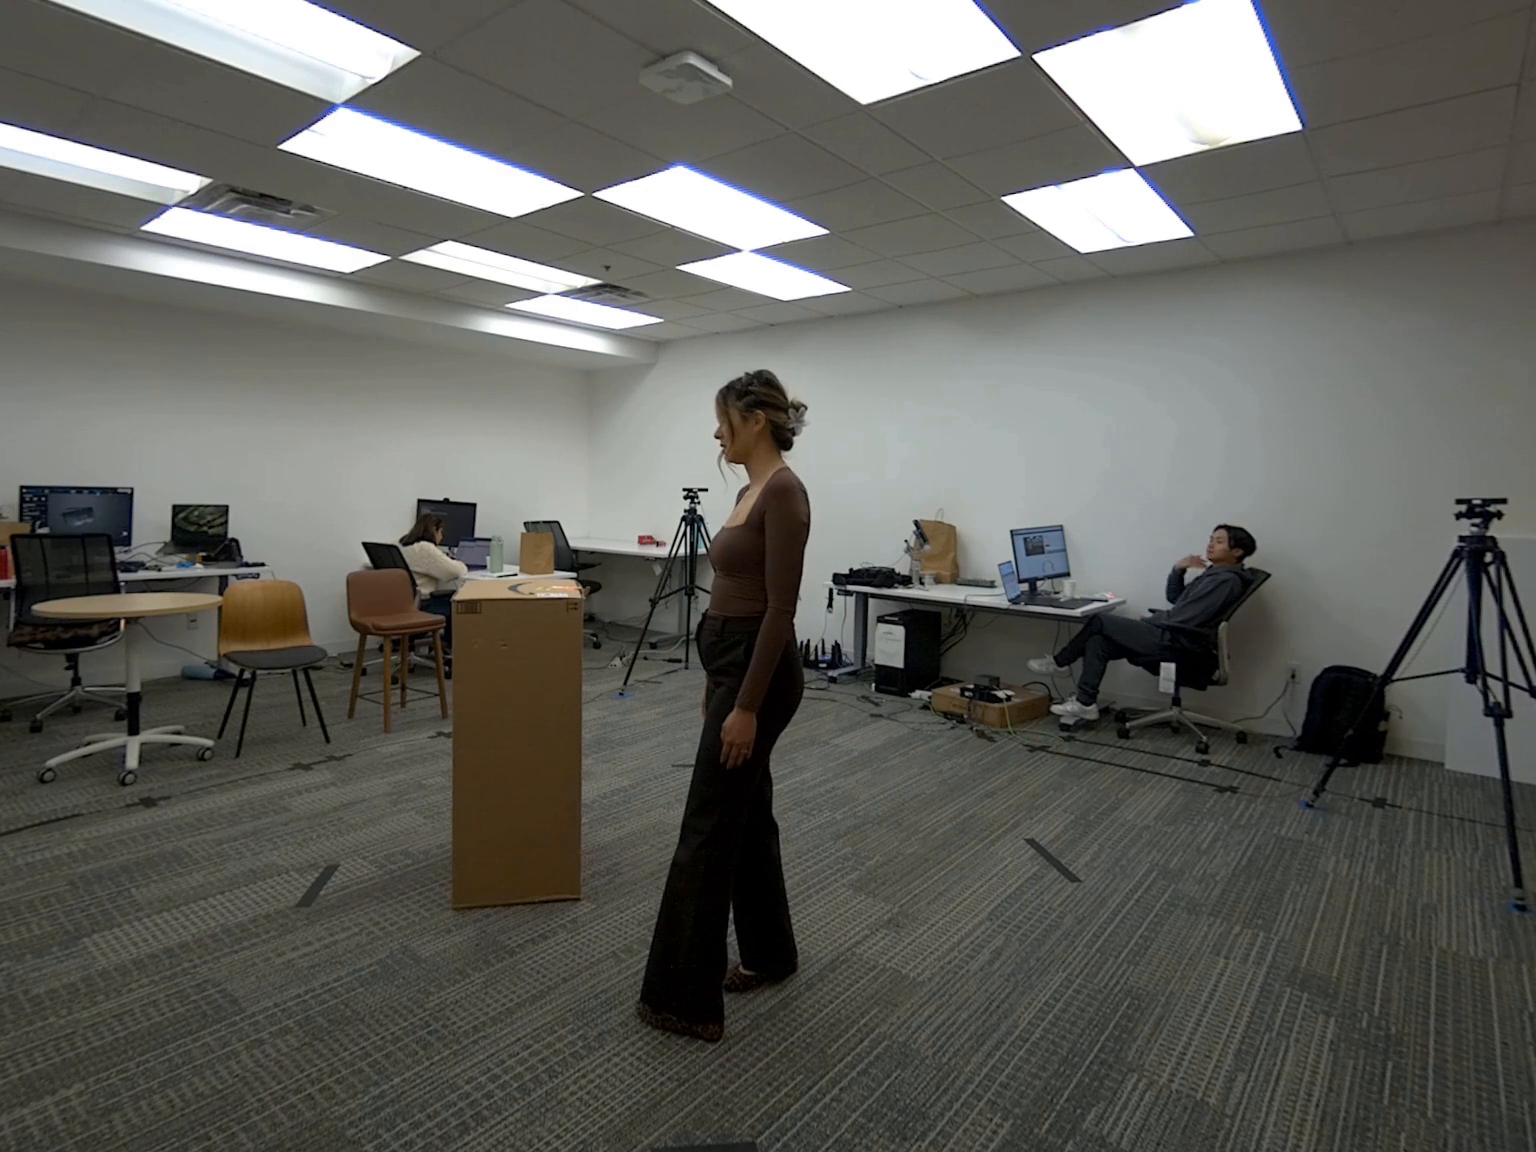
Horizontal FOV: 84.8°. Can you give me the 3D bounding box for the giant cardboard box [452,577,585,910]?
[{"bbox_3d":[-0.914,0.551,3.078,0.440,1.024,0.595,0,4,-16],"label":"giant cardboard box"}]
